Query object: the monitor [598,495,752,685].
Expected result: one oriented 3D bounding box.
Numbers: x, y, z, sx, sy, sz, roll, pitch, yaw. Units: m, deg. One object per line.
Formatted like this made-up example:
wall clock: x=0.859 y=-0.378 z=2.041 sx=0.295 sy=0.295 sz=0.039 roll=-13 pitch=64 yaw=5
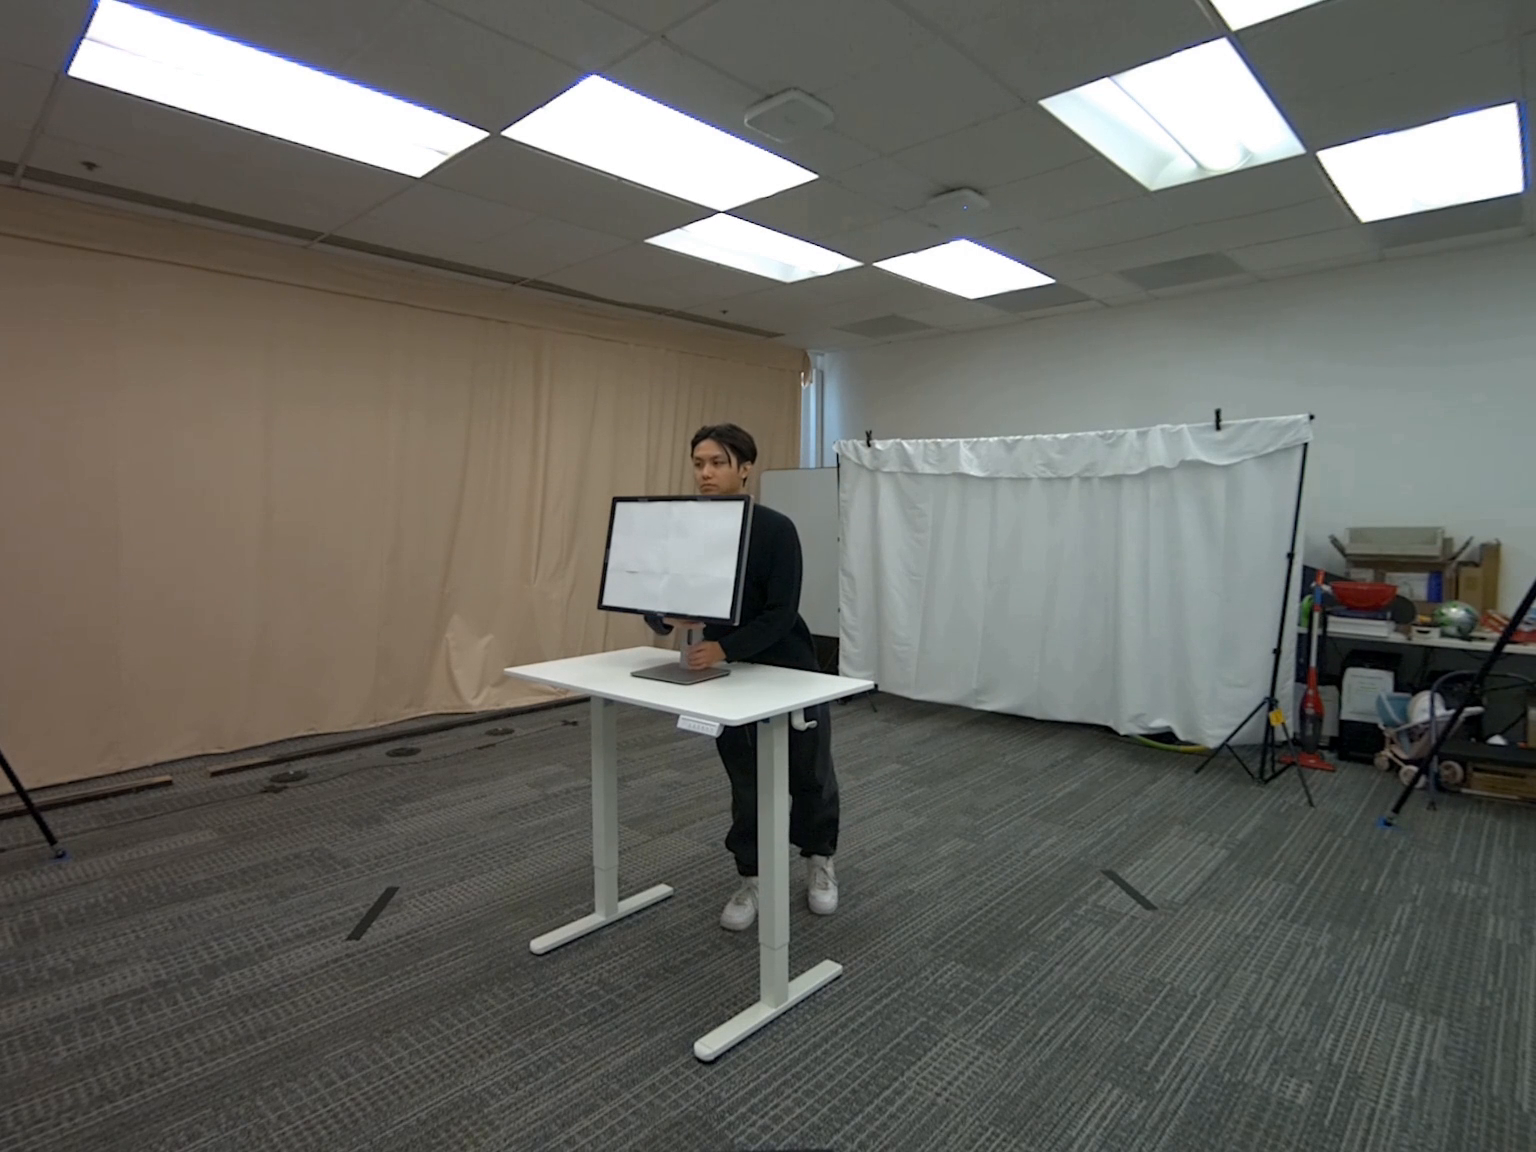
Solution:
monitor: x=-0.268 y=0.032 z=2.523 sx=0.548 sy=0.513 sz=0.170 roll=5 pitch=11 yaw=40
